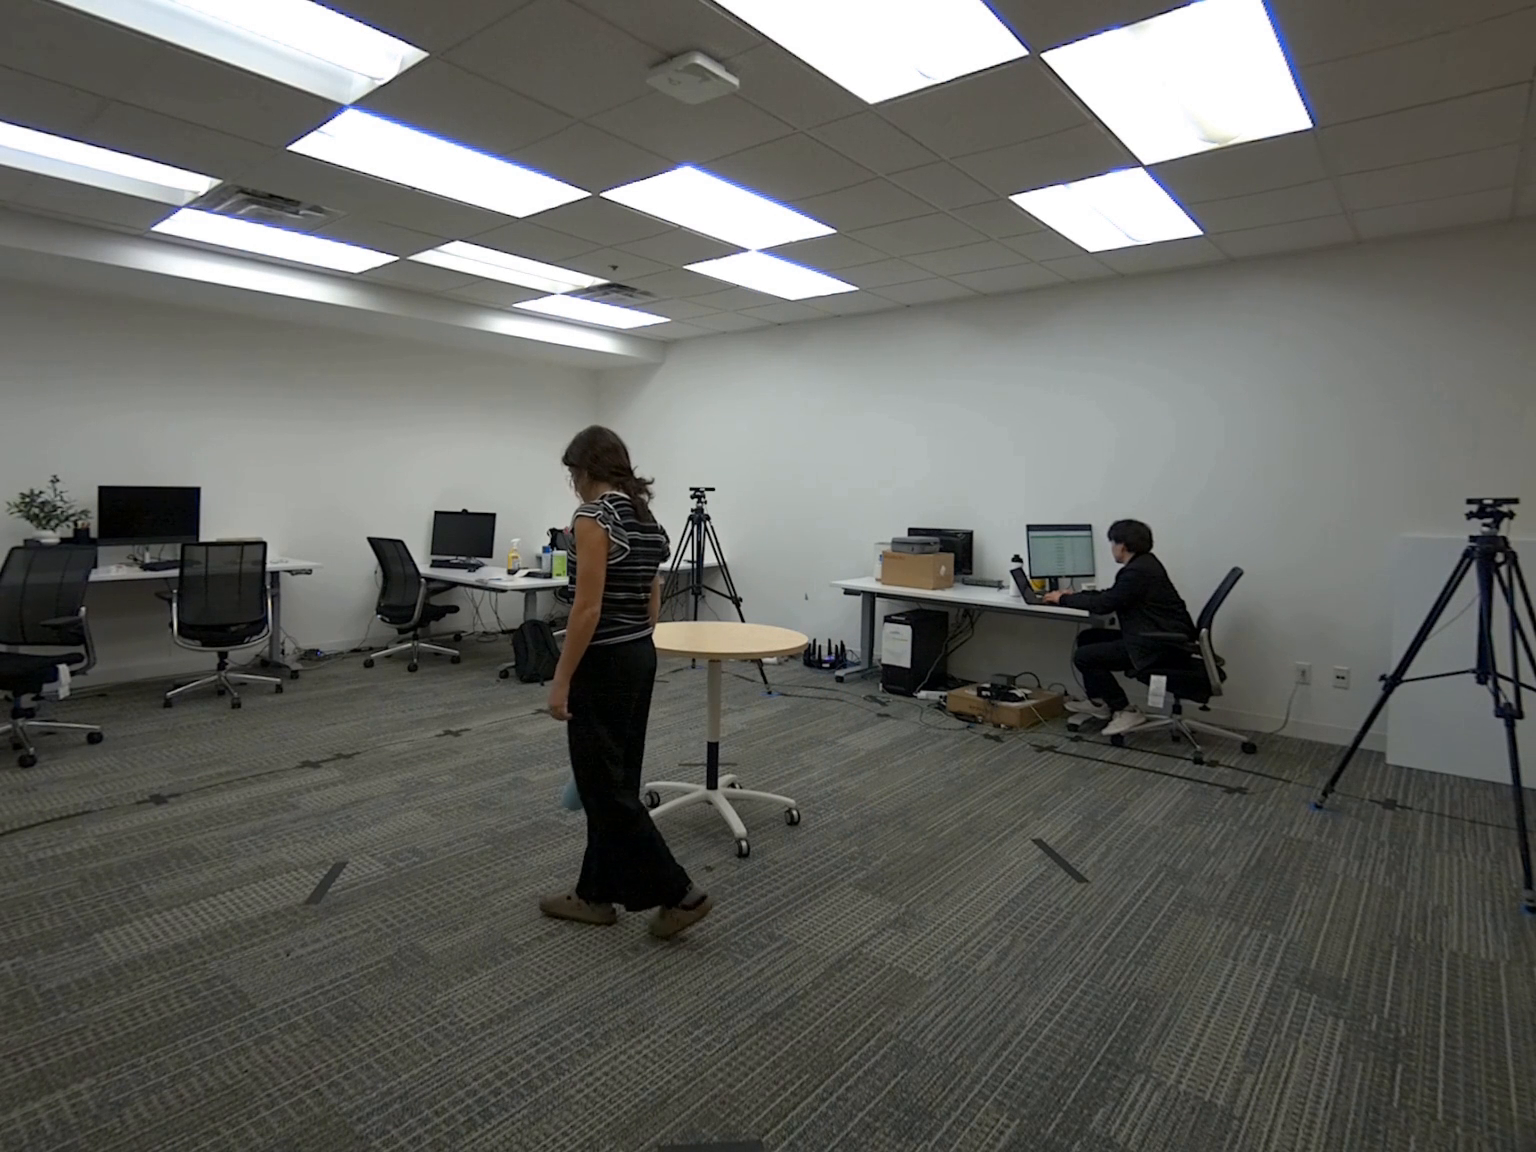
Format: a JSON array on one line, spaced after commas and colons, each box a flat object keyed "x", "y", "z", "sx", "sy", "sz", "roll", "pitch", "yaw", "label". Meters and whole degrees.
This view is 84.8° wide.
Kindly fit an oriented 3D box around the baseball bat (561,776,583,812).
[{"x": -0.585, "y": 0.567, "z": 2.918, "sx": 0.088, "sy": 0.540, "sz": 0.090, "roll": 26, "pitch": 13, "yaw": -9, "label": "baseball bat"}]
